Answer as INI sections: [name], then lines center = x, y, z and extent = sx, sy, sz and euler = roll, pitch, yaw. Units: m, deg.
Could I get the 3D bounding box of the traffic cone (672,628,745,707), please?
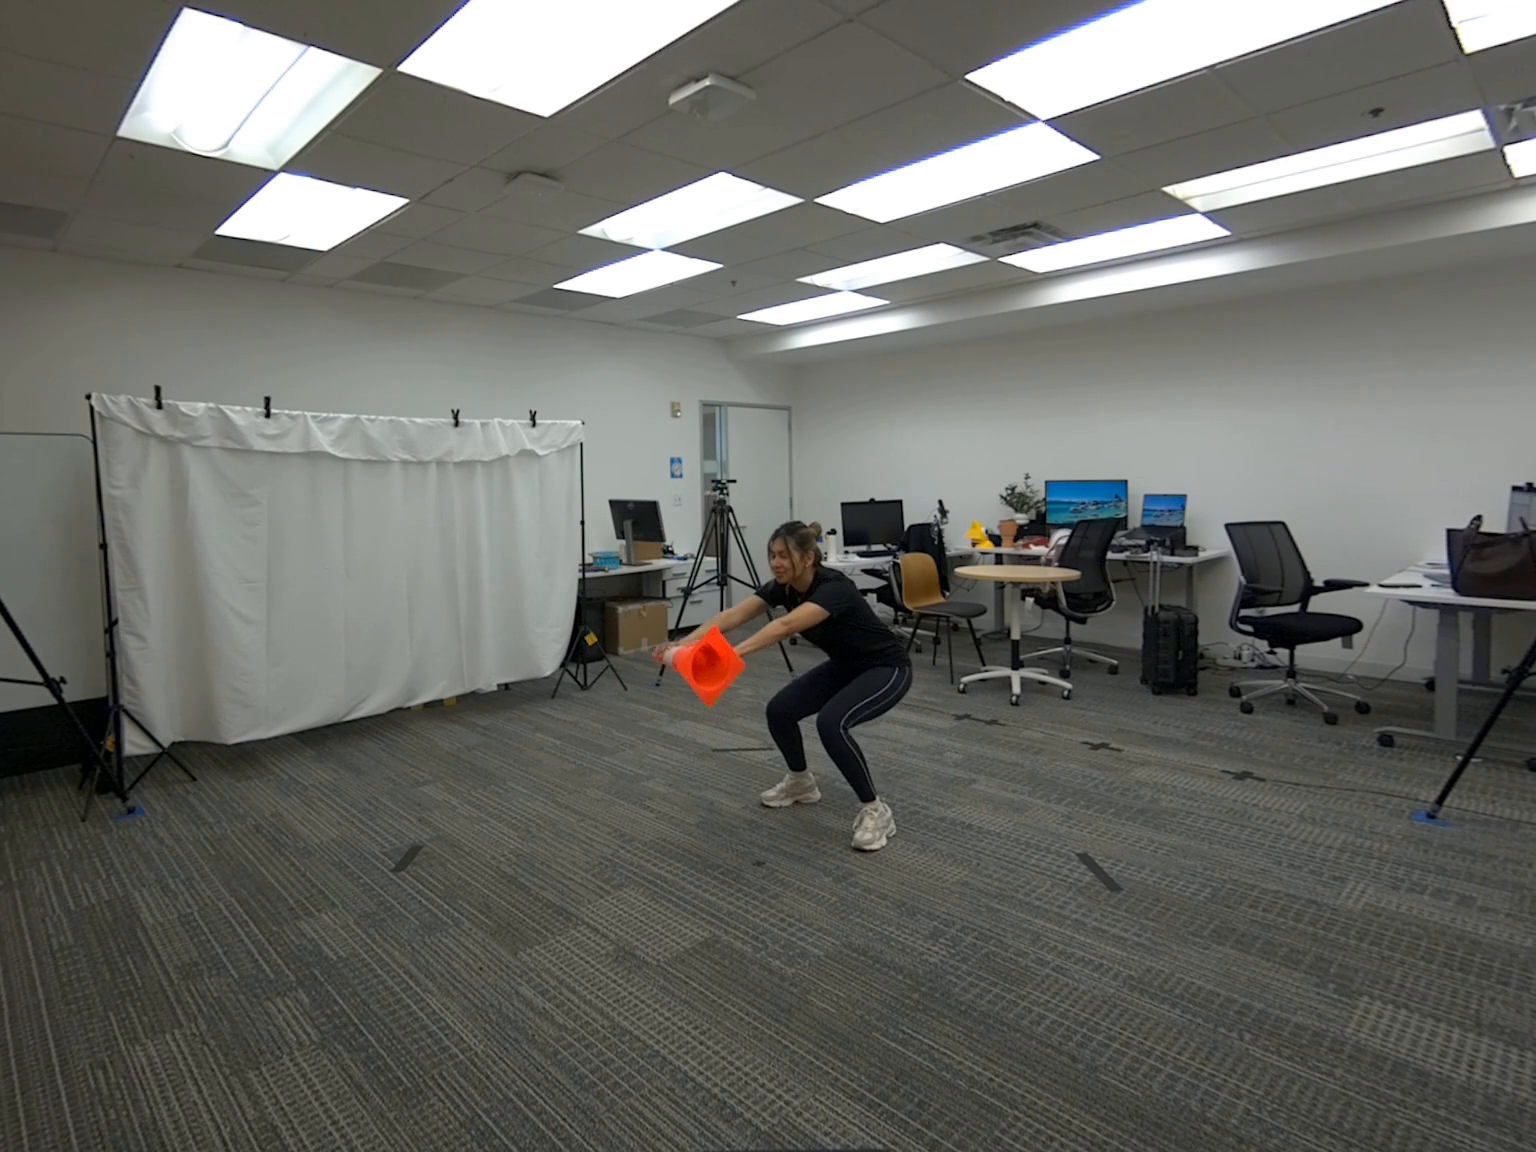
[traffic cone]
center = -0.293, 0.291, 3.011
extent = 0.203, 0.200, 0.394
euler = -47, 24, -24
